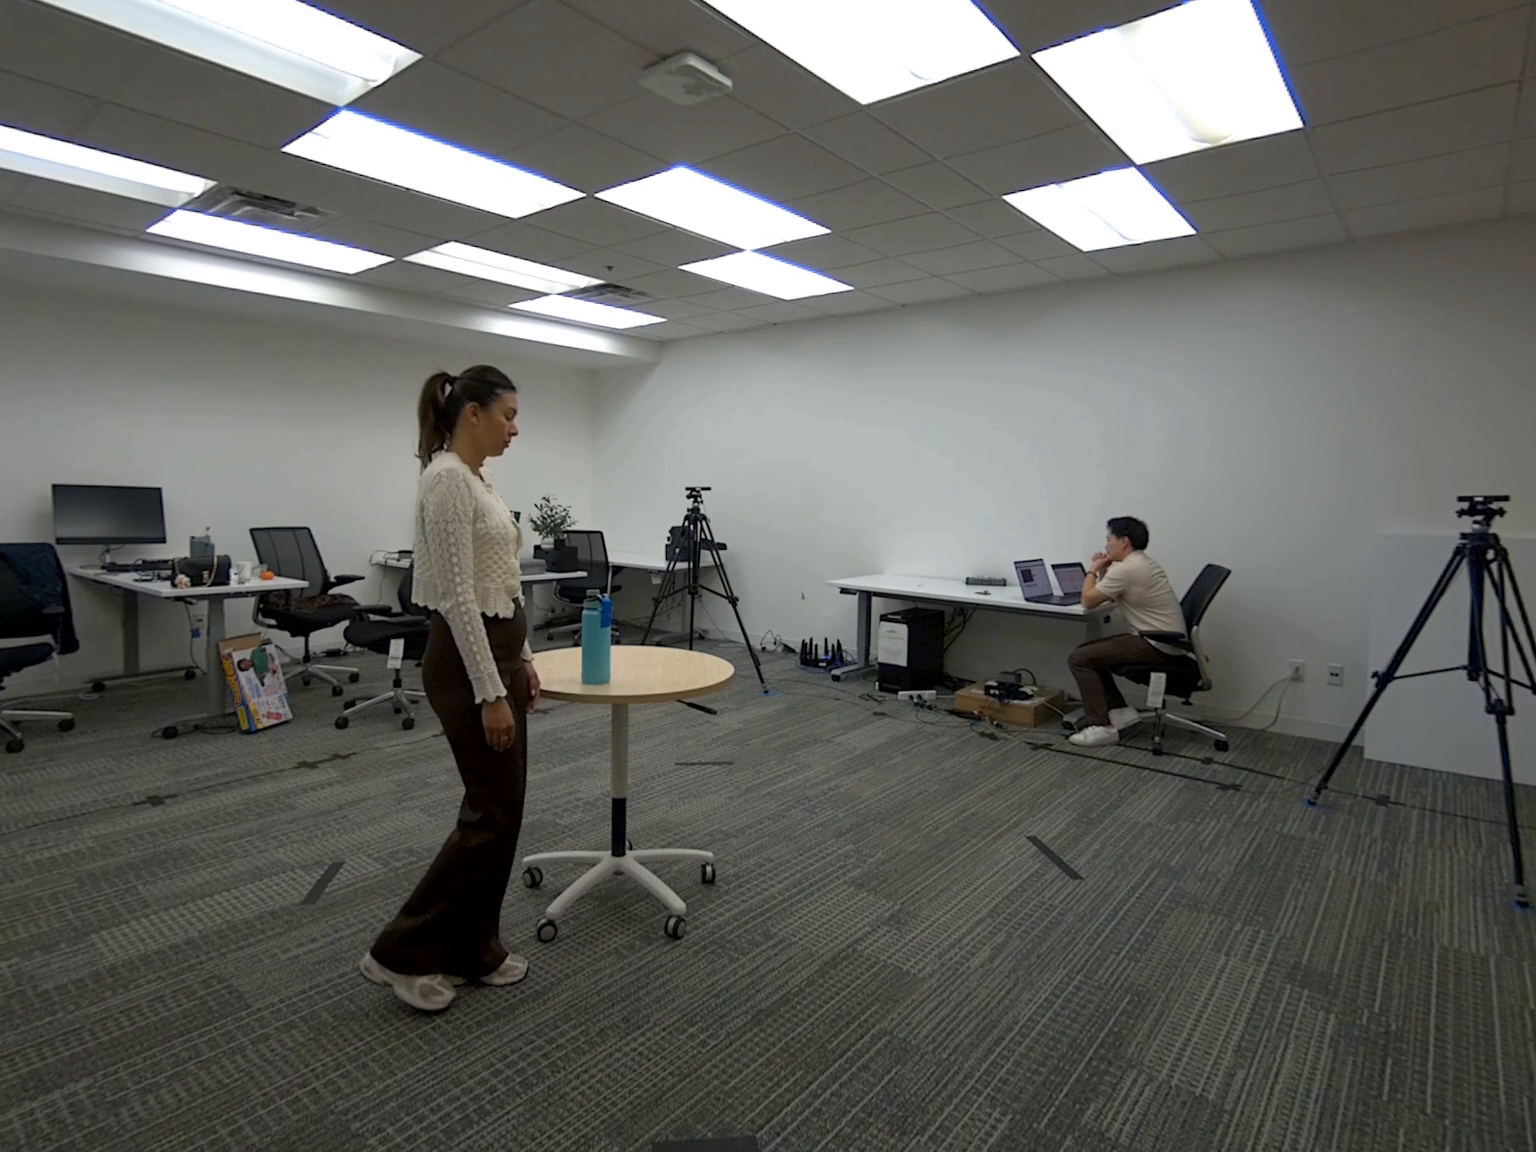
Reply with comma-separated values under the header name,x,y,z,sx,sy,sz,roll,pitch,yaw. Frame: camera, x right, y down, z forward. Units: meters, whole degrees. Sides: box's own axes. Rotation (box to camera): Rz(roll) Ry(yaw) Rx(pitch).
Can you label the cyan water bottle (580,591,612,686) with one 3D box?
name,x,y,z,sx,sy,sz,roll,pitch,yaw
cyan water bottle,-0.545,0.189,2.629,0.092,0.282,0.093,2,5,-2
